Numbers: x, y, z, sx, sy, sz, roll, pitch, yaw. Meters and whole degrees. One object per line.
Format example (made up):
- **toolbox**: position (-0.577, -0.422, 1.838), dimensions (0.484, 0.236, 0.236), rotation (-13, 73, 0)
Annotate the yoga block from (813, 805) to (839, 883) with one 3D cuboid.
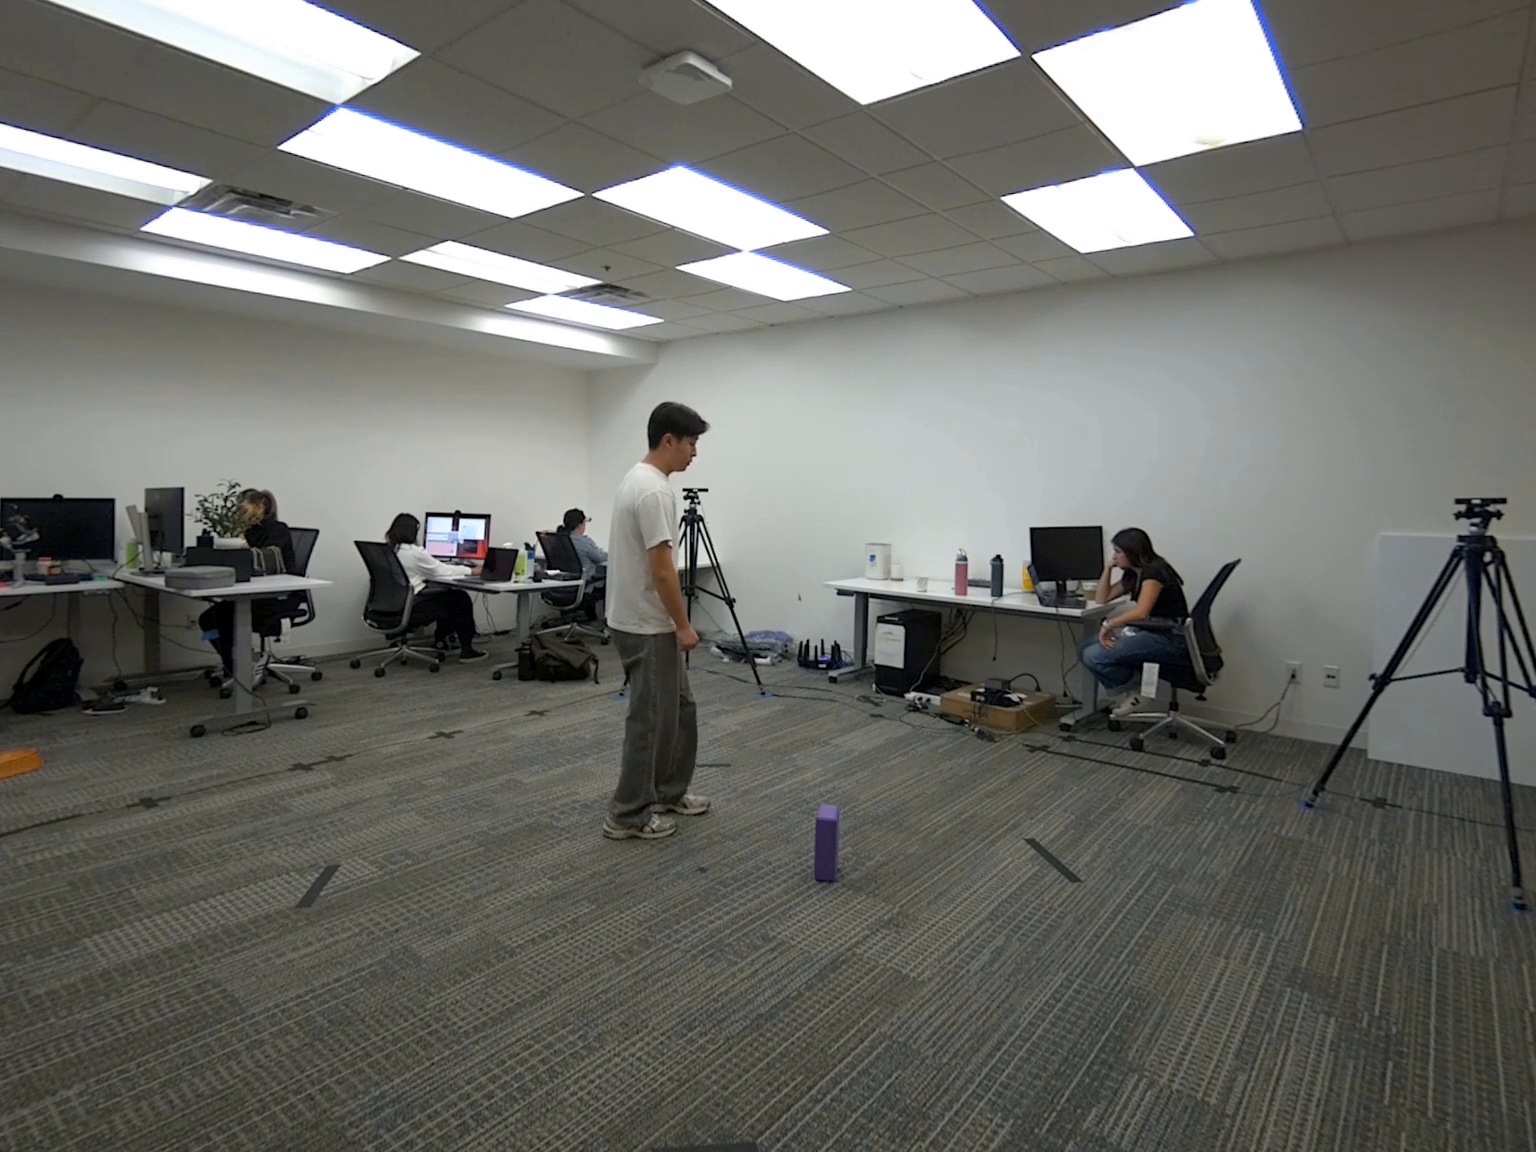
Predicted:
- **yoga block**: position (0.220, 0.961, 3.094), dimensions (0.077, 0.228, 0.148), rotation (2, 4, 8)
